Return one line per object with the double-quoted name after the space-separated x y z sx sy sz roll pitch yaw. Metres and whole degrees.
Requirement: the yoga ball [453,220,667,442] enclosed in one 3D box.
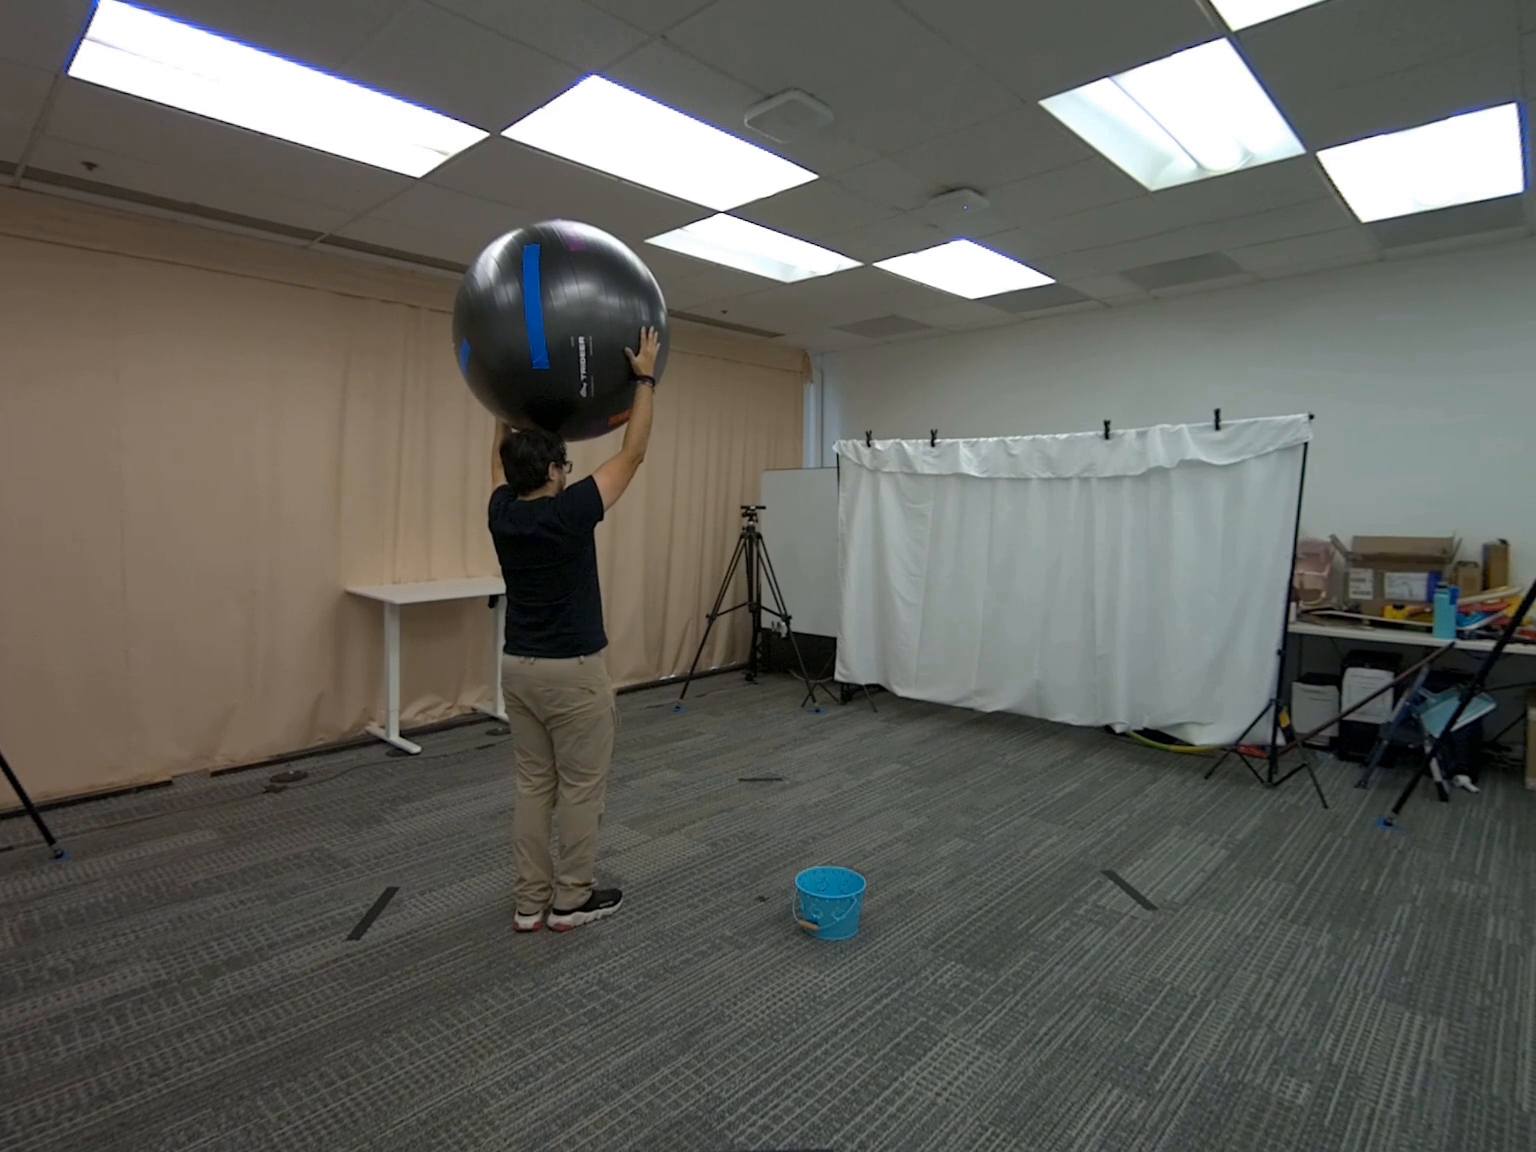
-0.721 -0.851 2.988 0.757 0.756 0.761 0 4 -2 "yoga ball"
